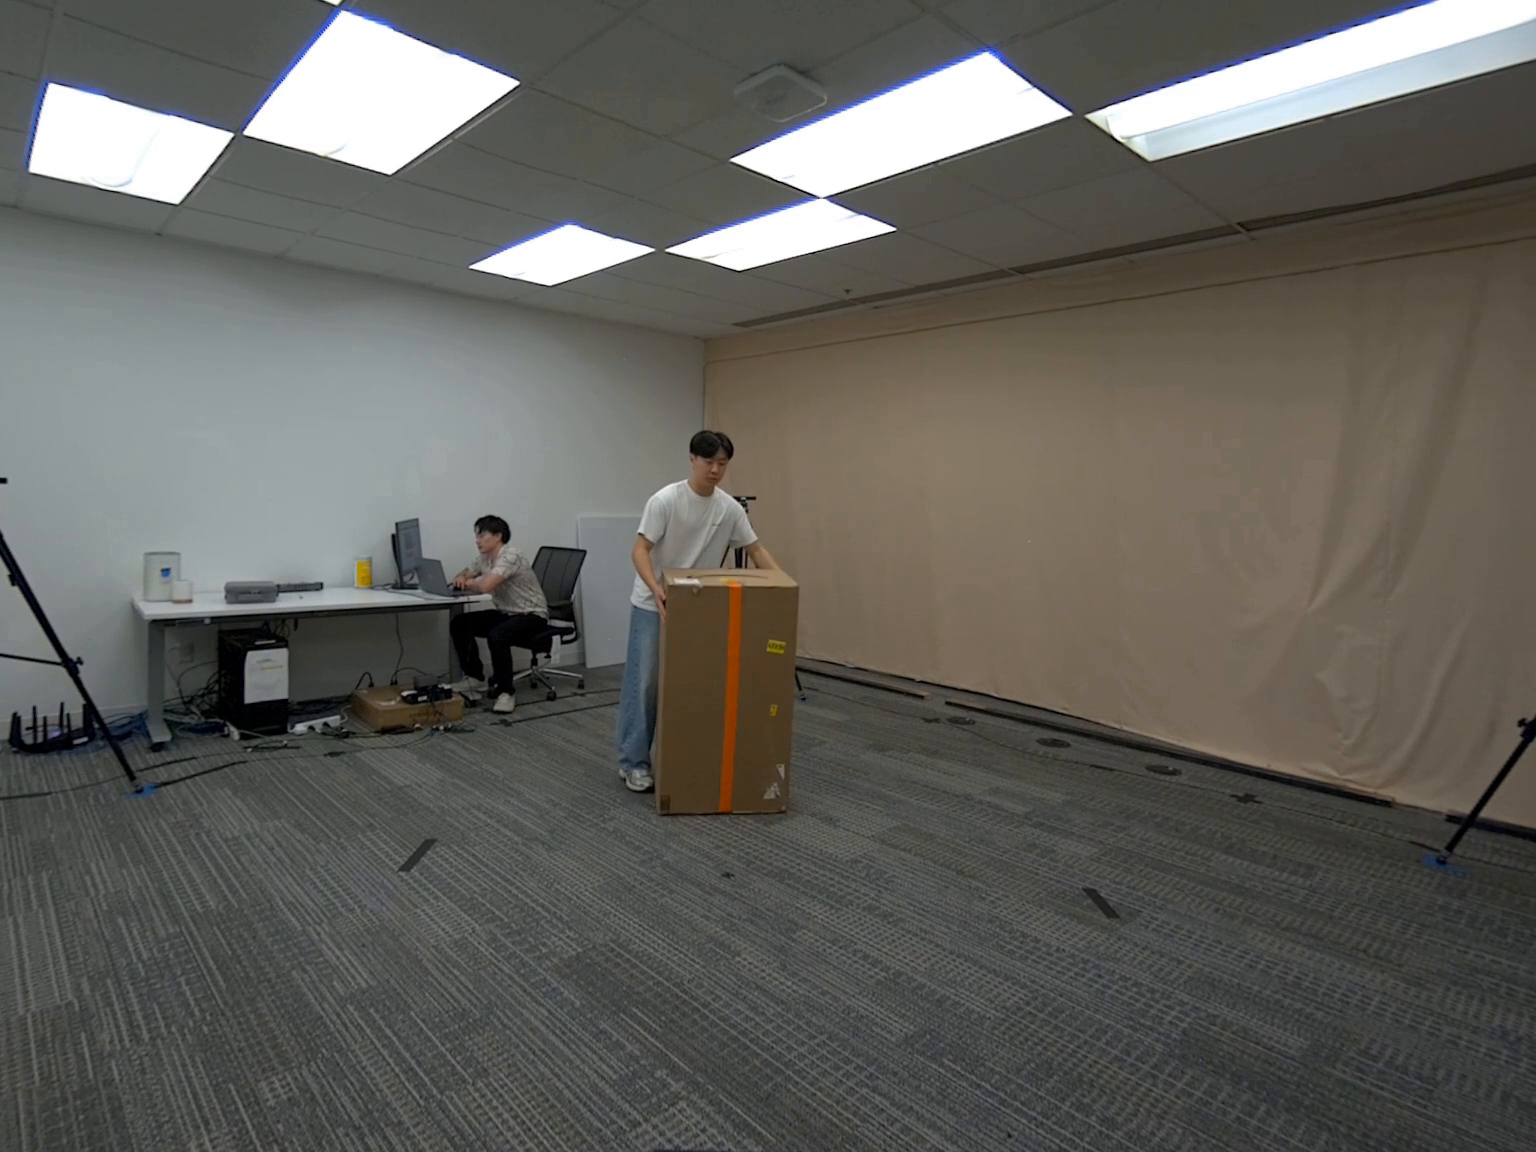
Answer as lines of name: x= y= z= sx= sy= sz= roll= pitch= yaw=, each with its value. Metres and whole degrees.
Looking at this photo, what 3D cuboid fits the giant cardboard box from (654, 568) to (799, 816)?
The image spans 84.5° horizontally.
giant cardboard box: x=-0.207 y=0.502 z=3.835 sx=0.572 sy=1.020 sz=0.432 roll=2 pitch=7 yaw=-11
